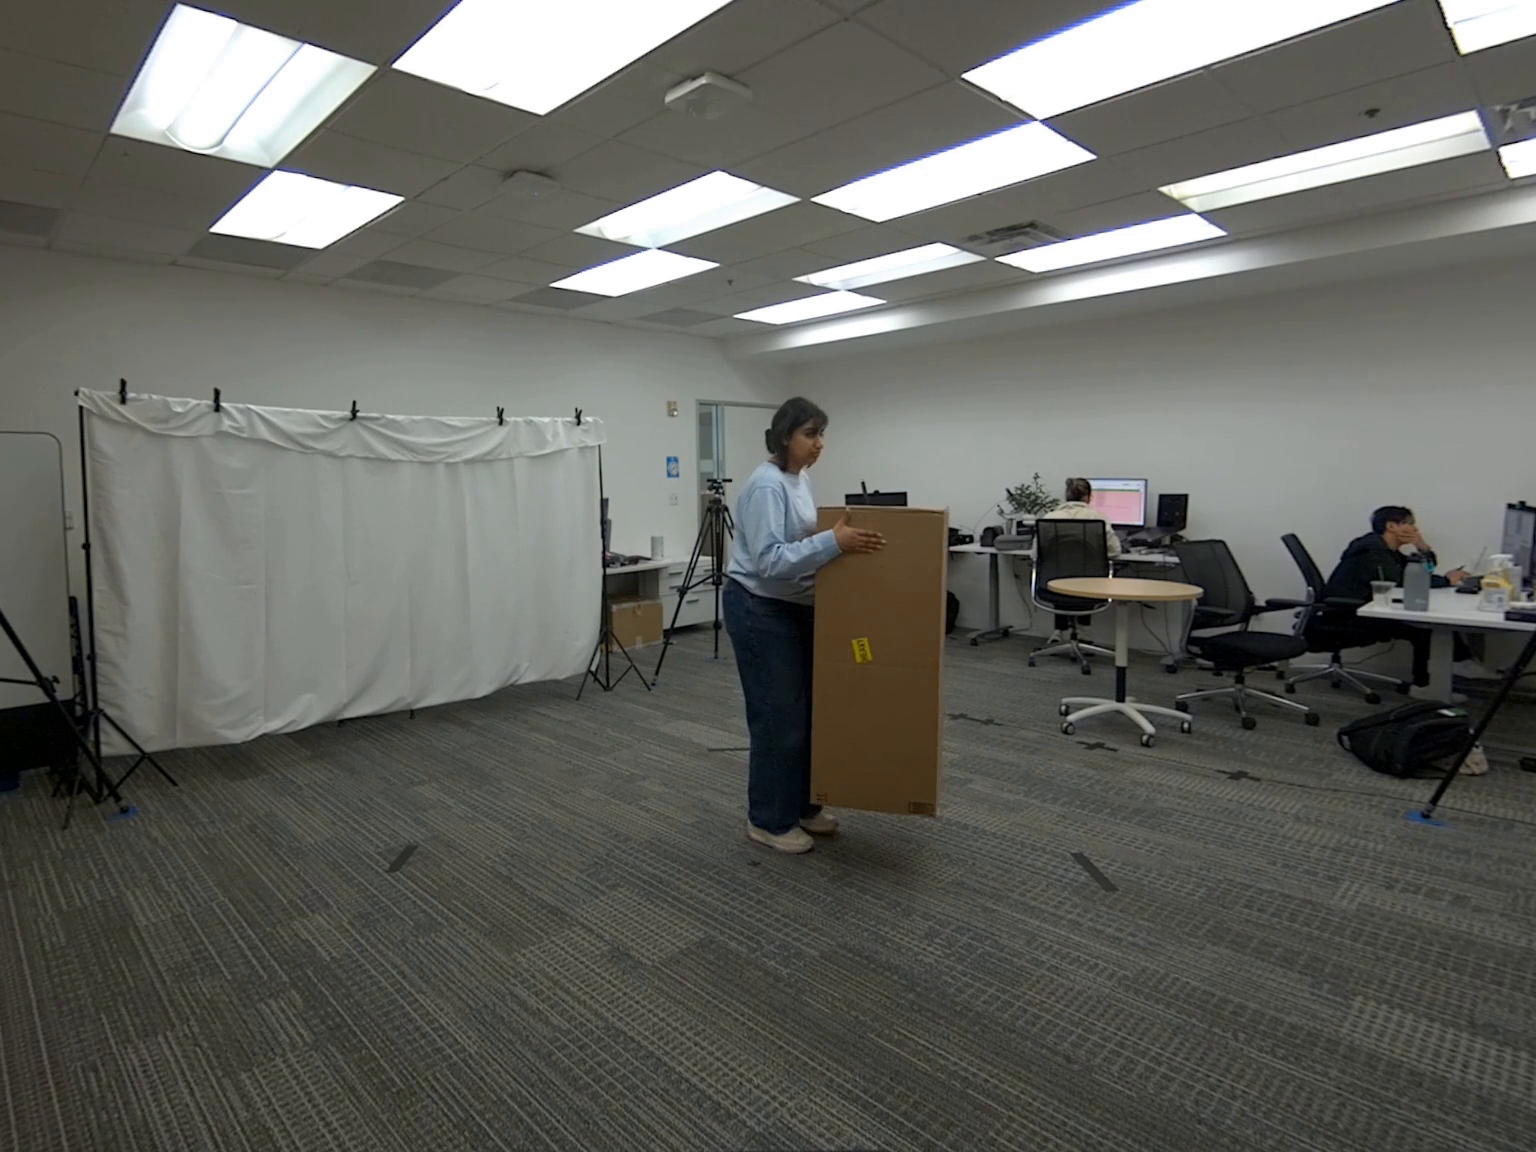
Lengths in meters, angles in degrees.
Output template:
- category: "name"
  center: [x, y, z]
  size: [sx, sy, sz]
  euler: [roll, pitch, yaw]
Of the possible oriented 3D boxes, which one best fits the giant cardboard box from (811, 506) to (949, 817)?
- category: "giant cardboard box"
  center: [0.423, 0.265, 3.120]
  size: [0.454, 1.024, 0.576]
  euler: [2, 4, 16]
